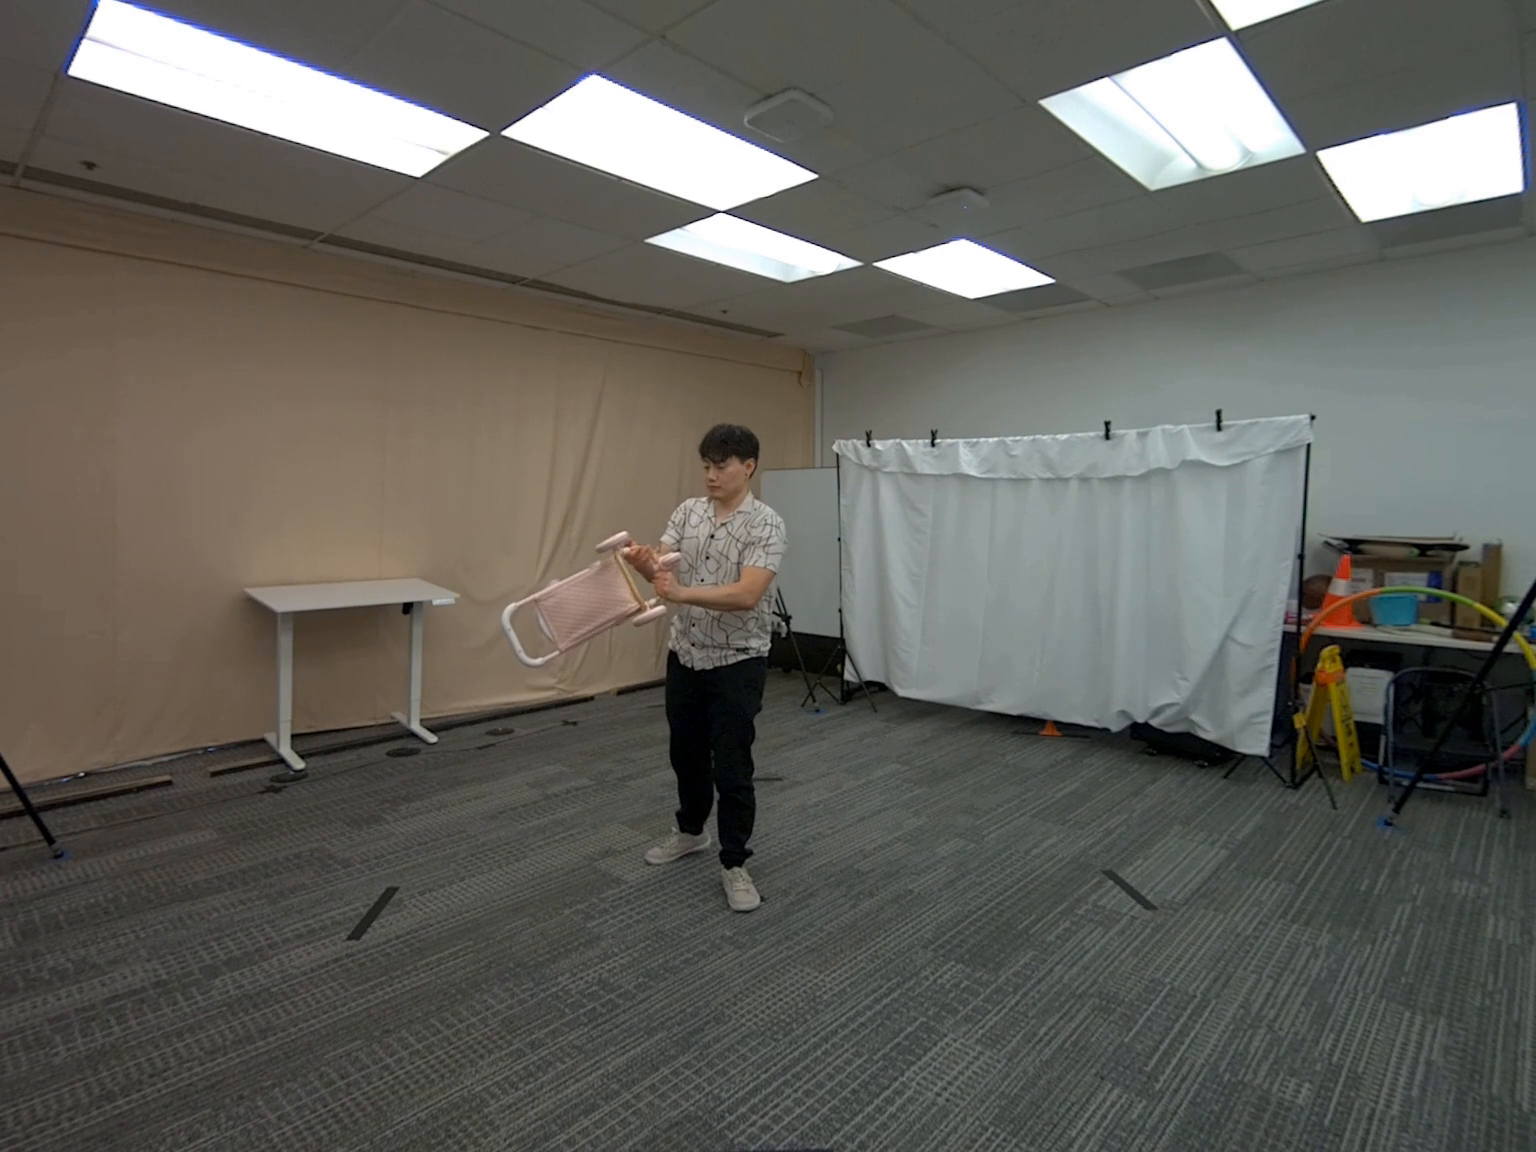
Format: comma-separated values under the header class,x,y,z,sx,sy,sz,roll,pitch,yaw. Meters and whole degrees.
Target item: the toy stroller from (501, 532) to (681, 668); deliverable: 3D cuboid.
class,x,y,z,sx,sy,sz,roll,pitch,yaw
toy stroller,-0.534,0.064,2.649,0.539,0.280,0.340,-28,5,11
